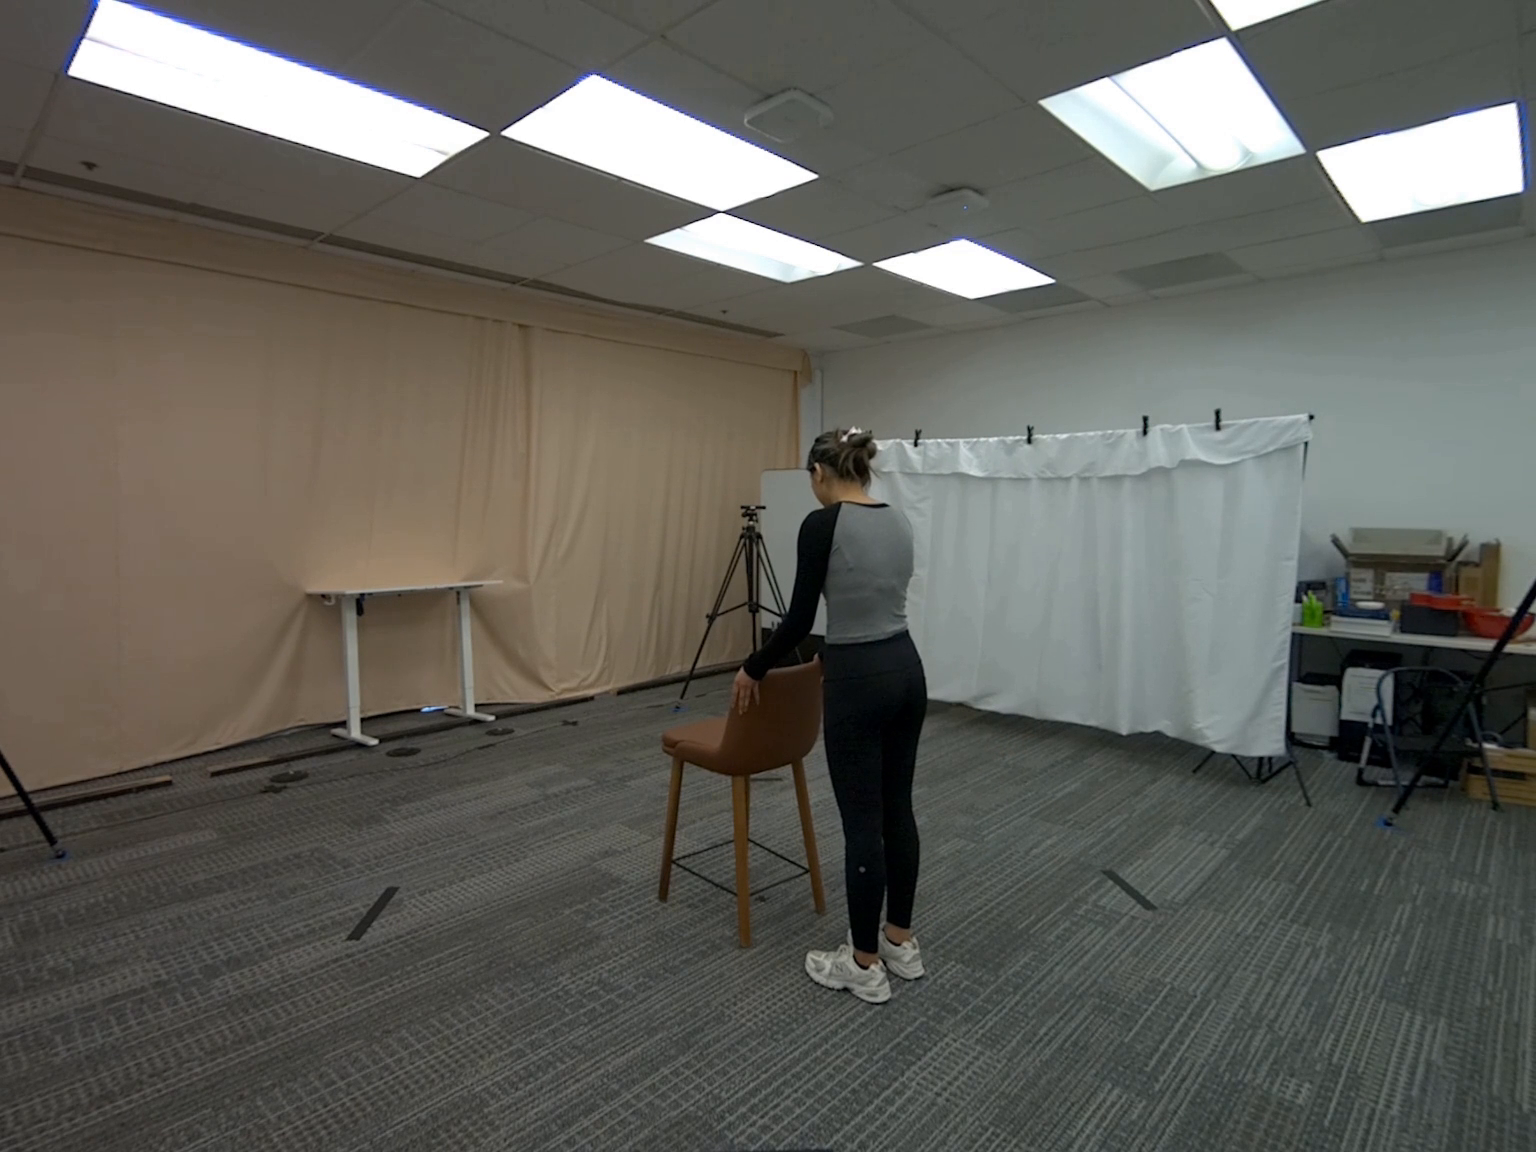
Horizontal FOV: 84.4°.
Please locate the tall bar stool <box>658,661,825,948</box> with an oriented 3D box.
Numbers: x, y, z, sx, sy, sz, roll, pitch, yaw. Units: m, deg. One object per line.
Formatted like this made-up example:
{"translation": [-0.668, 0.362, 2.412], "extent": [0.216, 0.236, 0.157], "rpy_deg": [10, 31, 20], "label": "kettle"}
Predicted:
{"translation": [-0.081, 0.711, 2.906], "extent": [0.442, 0.887, 0.483], "rpy_deg": [-3, 7, -42], "label": "tall bar stool"}
